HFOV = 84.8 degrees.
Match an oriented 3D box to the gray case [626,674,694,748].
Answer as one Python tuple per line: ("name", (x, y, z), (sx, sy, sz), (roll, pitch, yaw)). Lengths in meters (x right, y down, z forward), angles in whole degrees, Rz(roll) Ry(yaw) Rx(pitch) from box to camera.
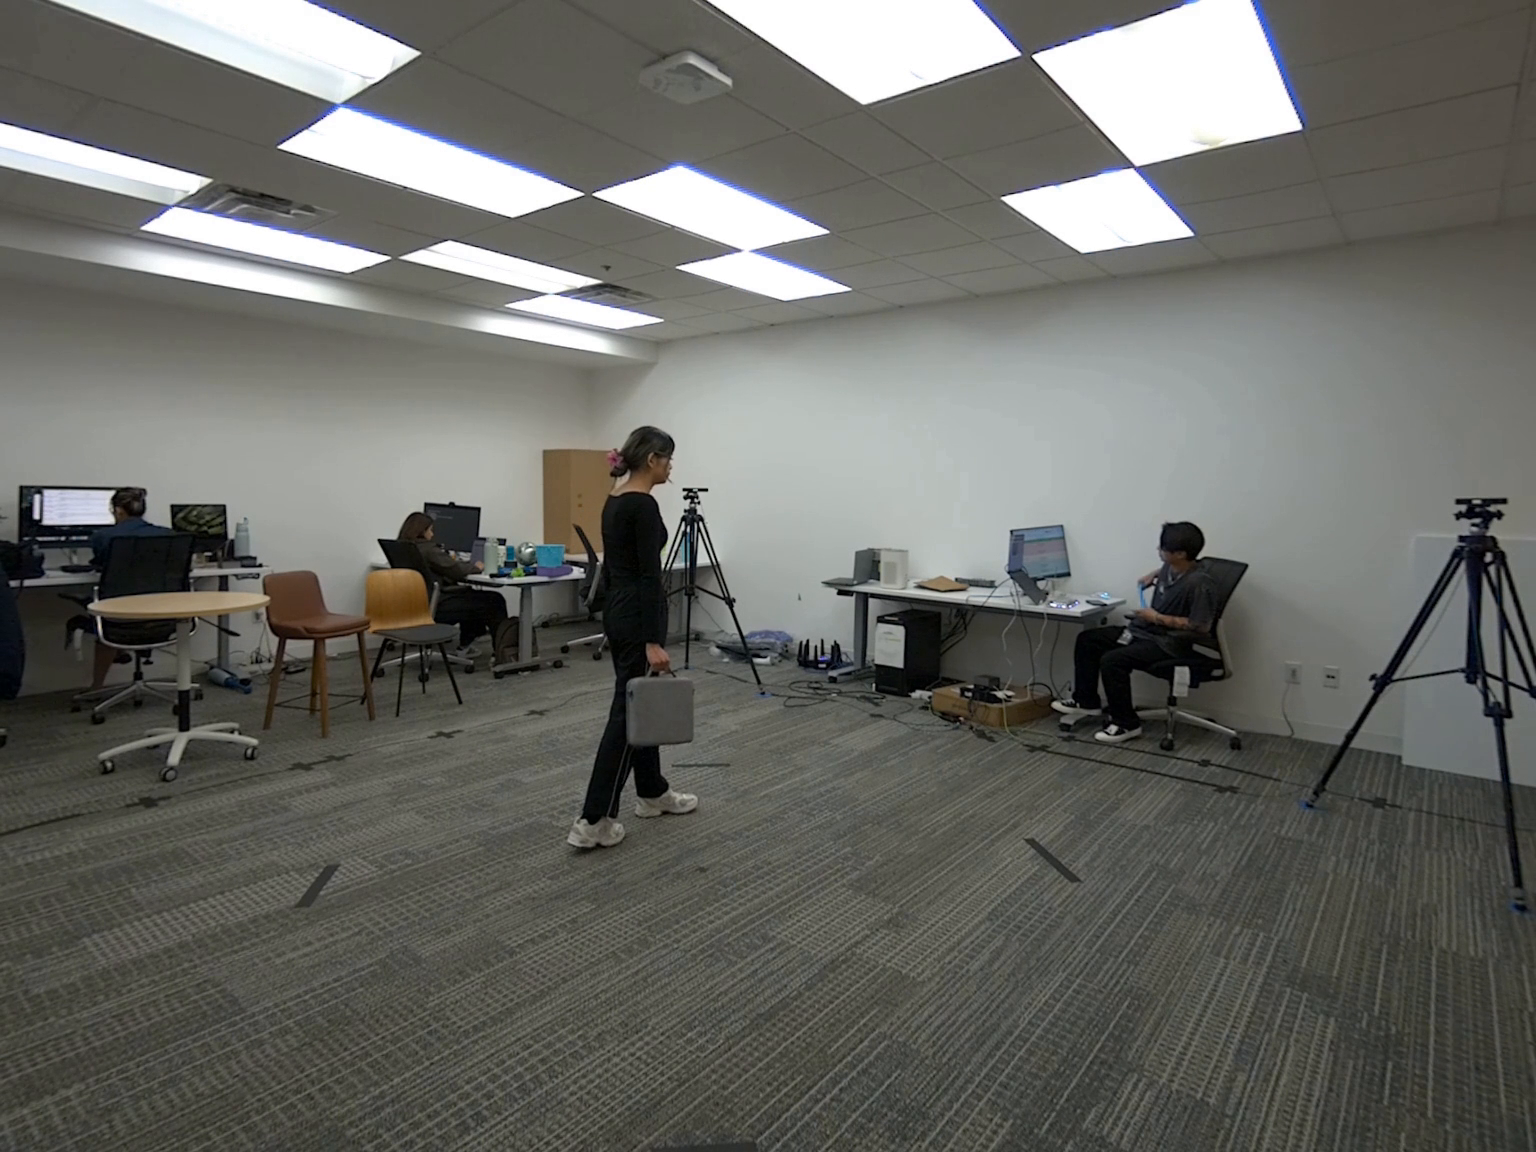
("gray case", (-0.422, 0.509, 3.253), (0.250, 0.262, 0.106), (2, -6, -26))
